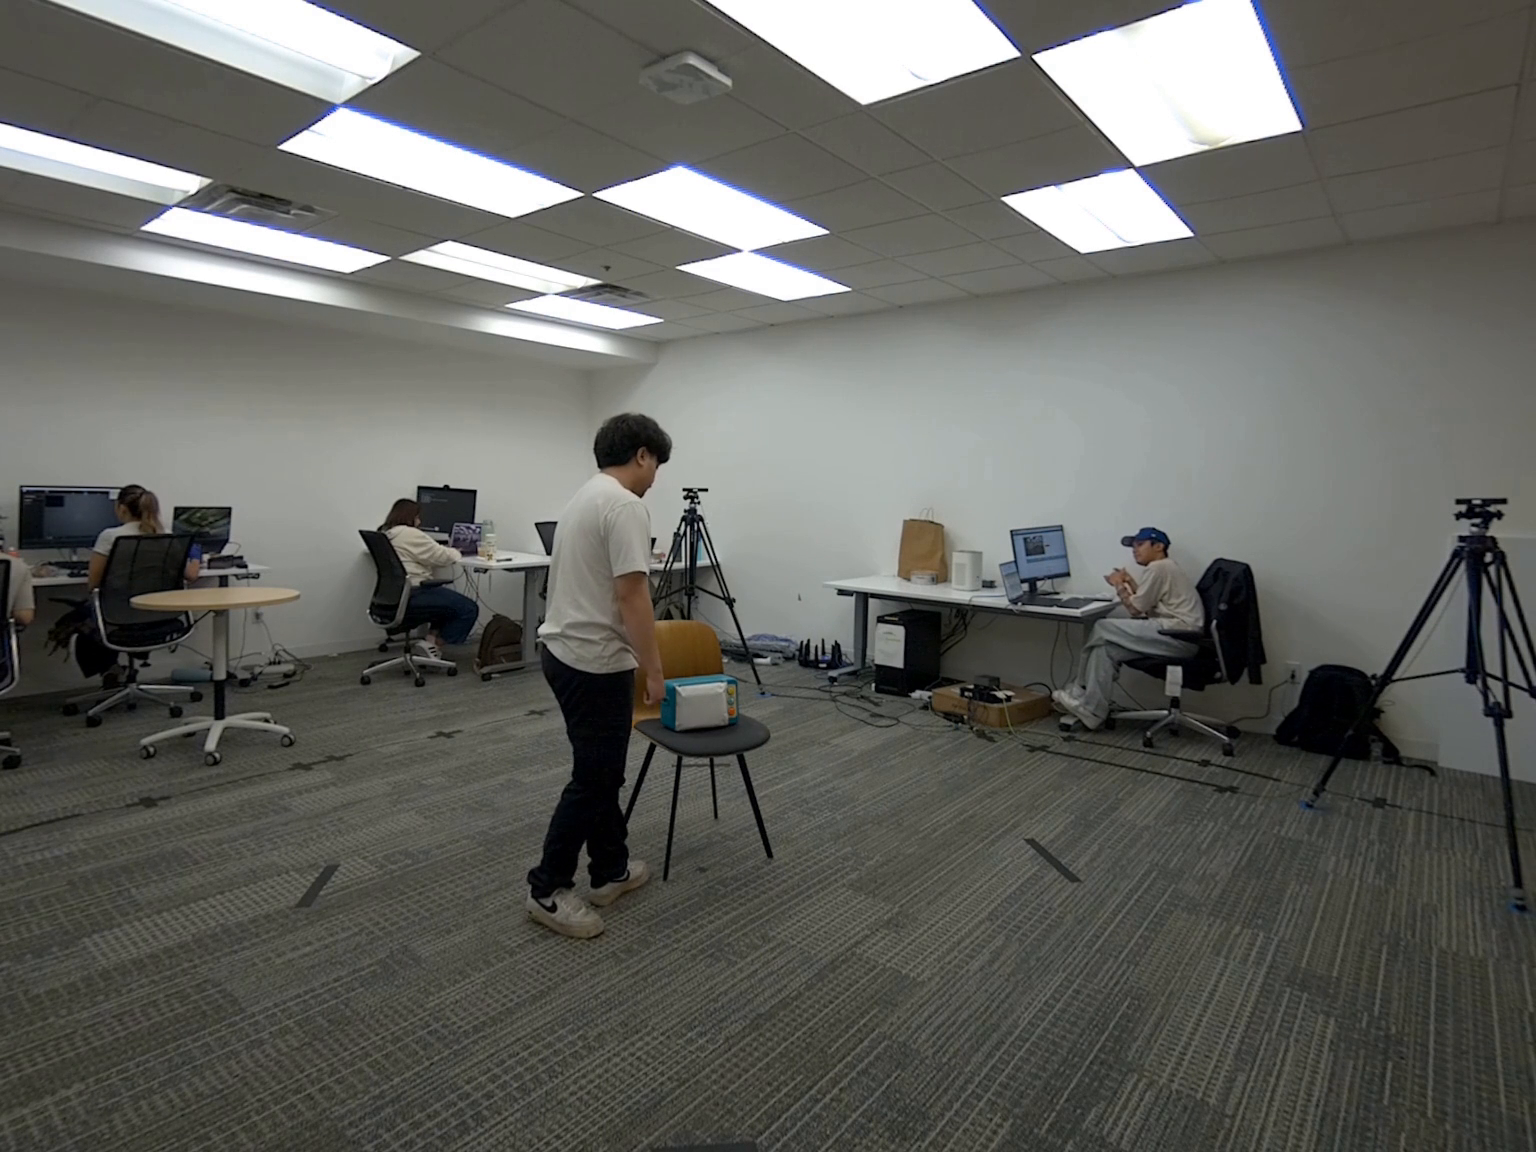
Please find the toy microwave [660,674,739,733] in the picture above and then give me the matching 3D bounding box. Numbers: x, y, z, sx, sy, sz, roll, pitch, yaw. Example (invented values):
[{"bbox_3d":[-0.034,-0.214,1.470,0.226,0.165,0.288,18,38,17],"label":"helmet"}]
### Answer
[{"bbox_3d":[-0.271,0.482,3.254,0.279,0.184,0.156,-2,1,-25],"label":"toy microwave"}]
